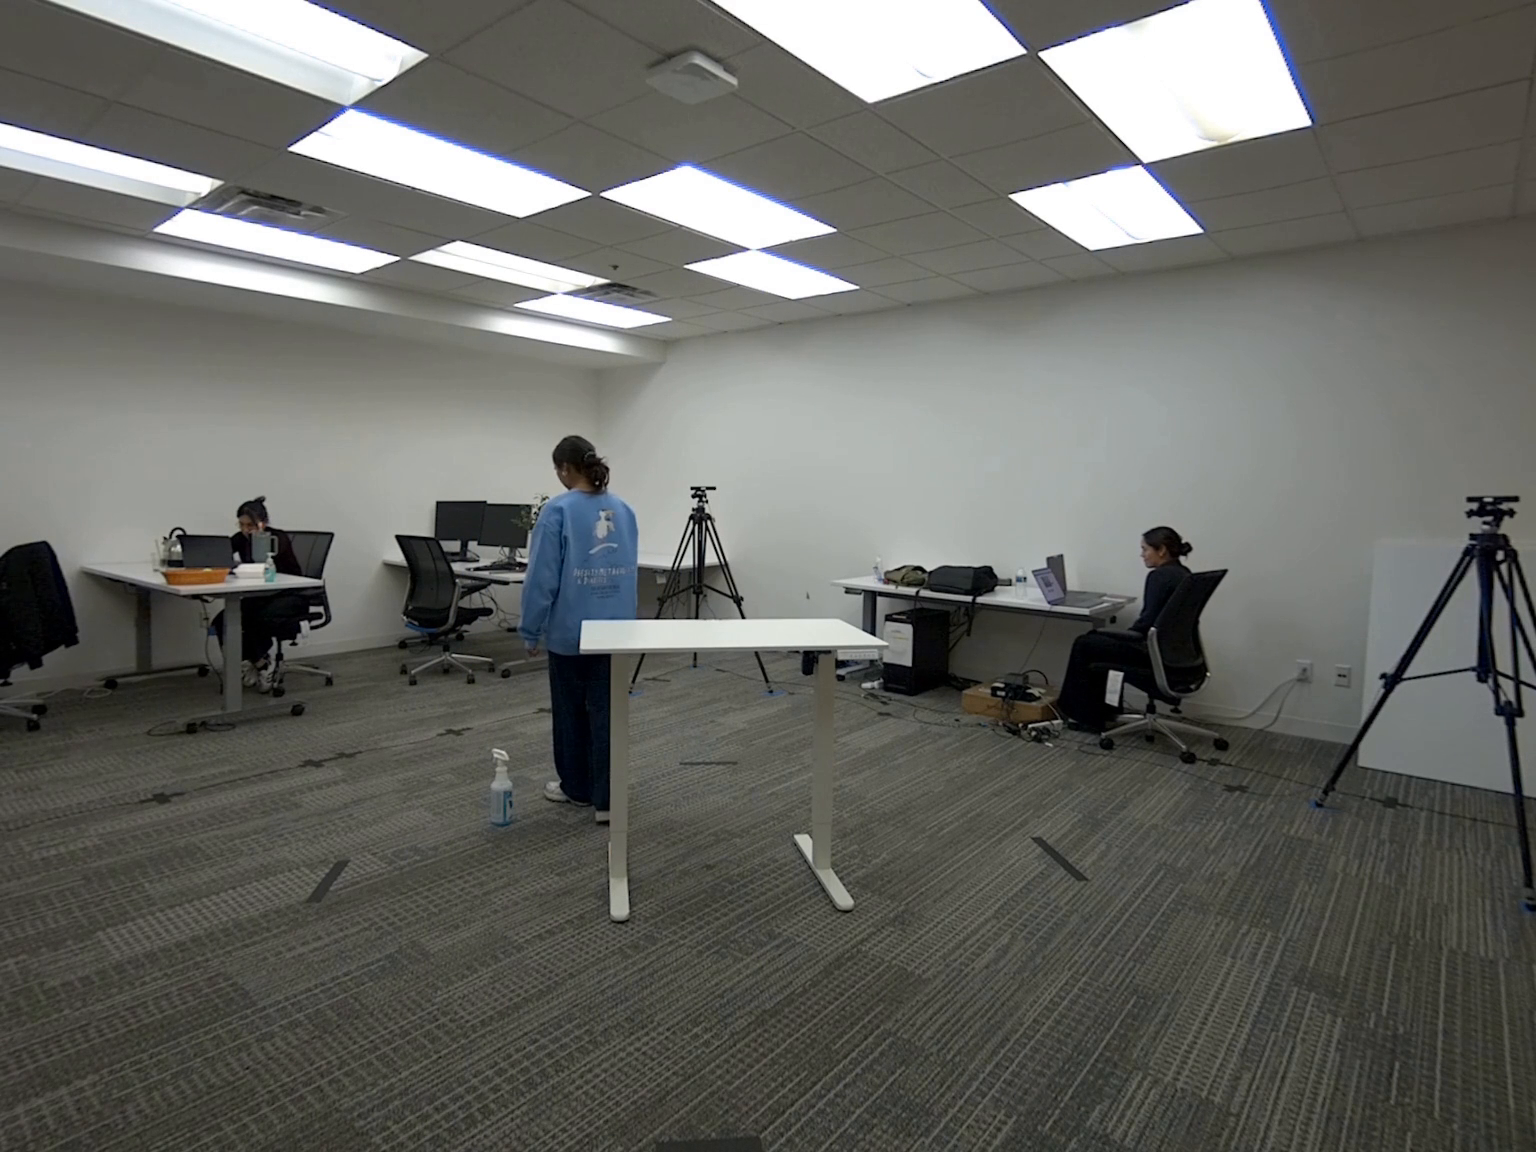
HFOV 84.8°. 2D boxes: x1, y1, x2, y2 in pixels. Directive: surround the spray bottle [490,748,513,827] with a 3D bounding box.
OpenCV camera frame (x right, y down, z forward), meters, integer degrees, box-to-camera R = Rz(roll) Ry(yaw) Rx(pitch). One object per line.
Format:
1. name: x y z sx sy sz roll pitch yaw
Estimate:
1. spray bottle: -1.113 0.870 3.498 0.084 0.297 0.093 -1 3 -34
